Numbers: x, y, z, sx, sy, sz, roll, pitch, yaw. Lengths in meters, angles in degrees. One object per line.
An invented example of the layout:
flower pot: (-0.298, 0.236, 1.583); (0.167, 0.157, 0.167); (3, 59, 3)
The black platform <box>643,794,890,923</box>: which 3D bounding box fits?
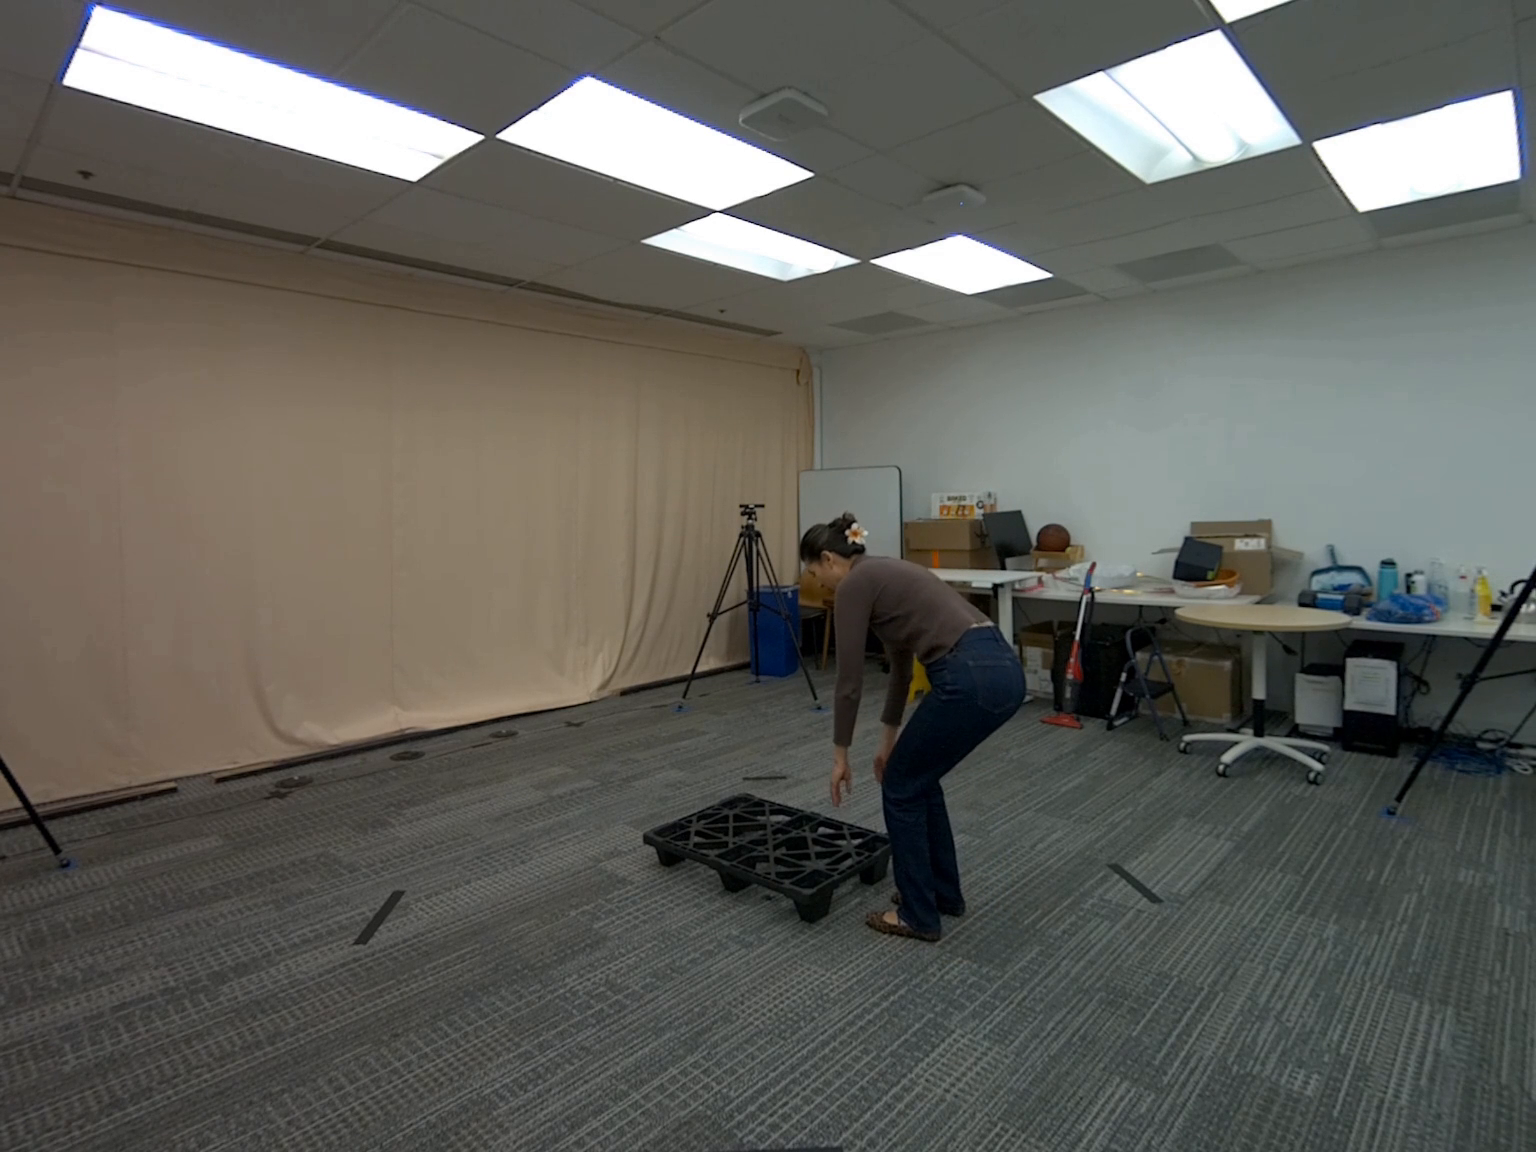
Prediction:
black platform: (0.011, 1.055, 3.196); (0.832, 0.143, 0.587); (3, 7, 41)
